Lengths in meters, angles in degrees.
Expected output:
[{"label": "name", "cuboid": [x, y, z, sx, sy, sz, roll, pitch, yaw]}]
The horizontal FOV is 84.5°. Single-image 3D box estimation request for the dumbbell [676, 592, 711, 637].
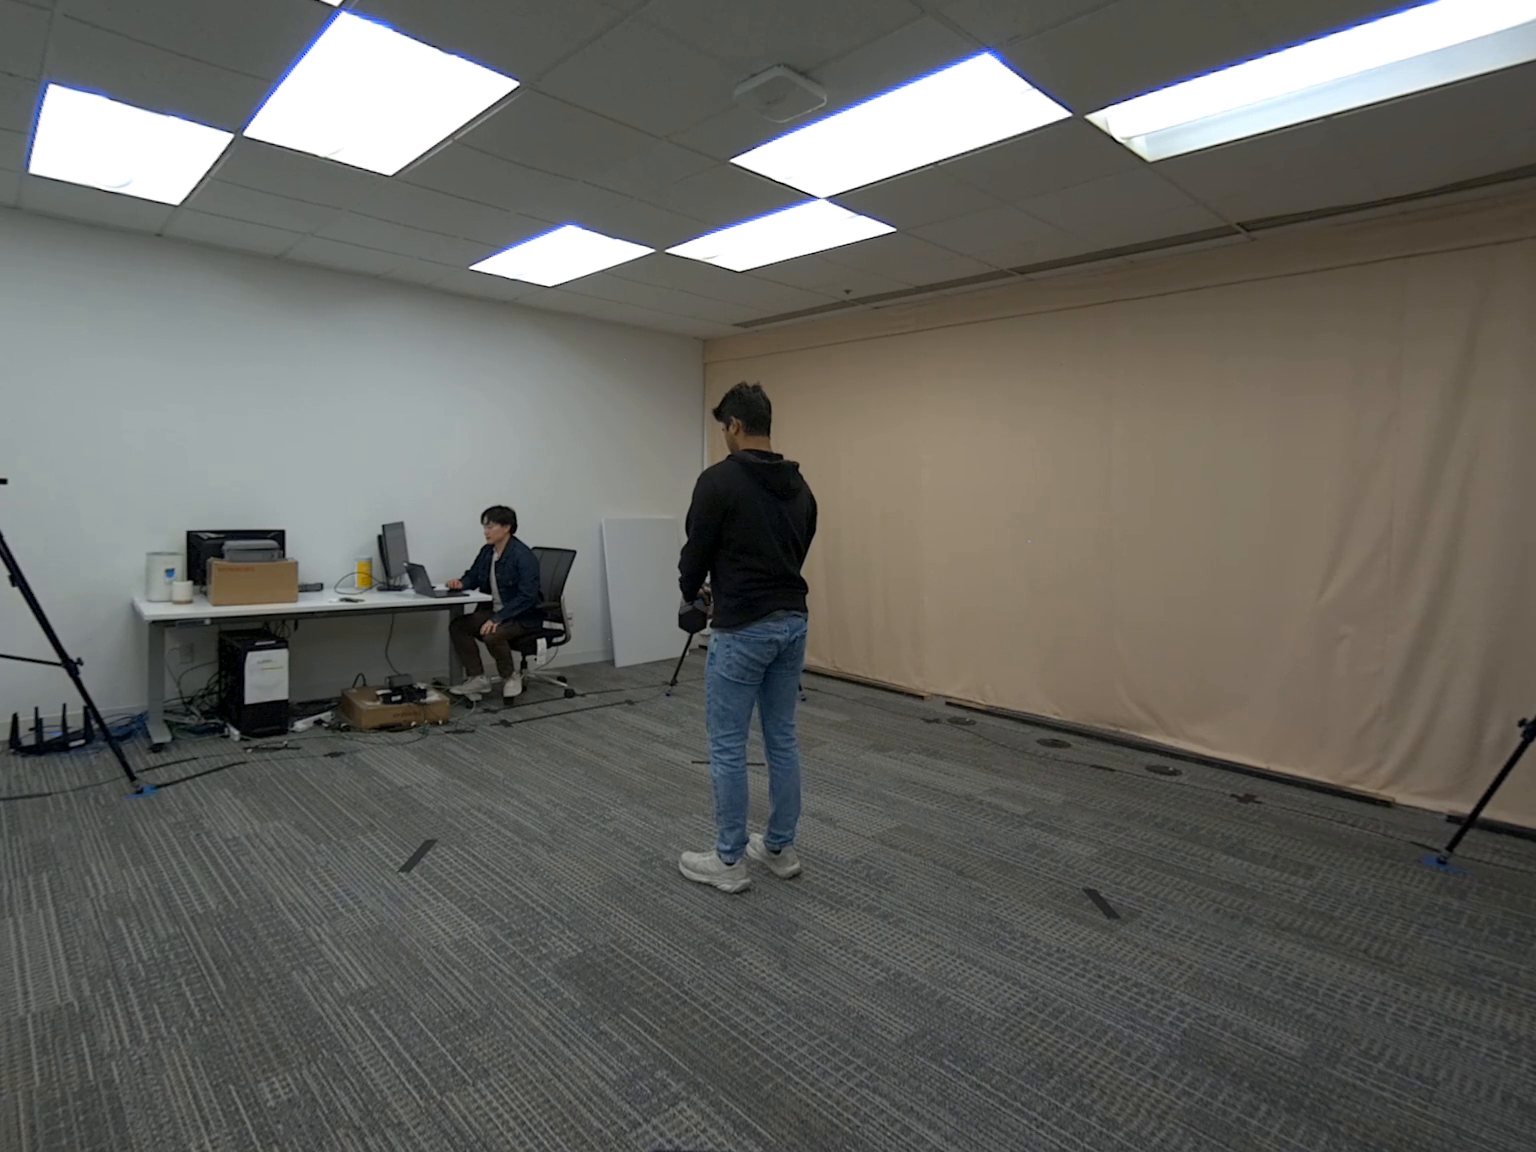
[{"label": "dumbbell", "cuboid": [-0.280, 0.120, 3.269, 0.109, 0.122, 0.296, 3, 16, 2]}]
